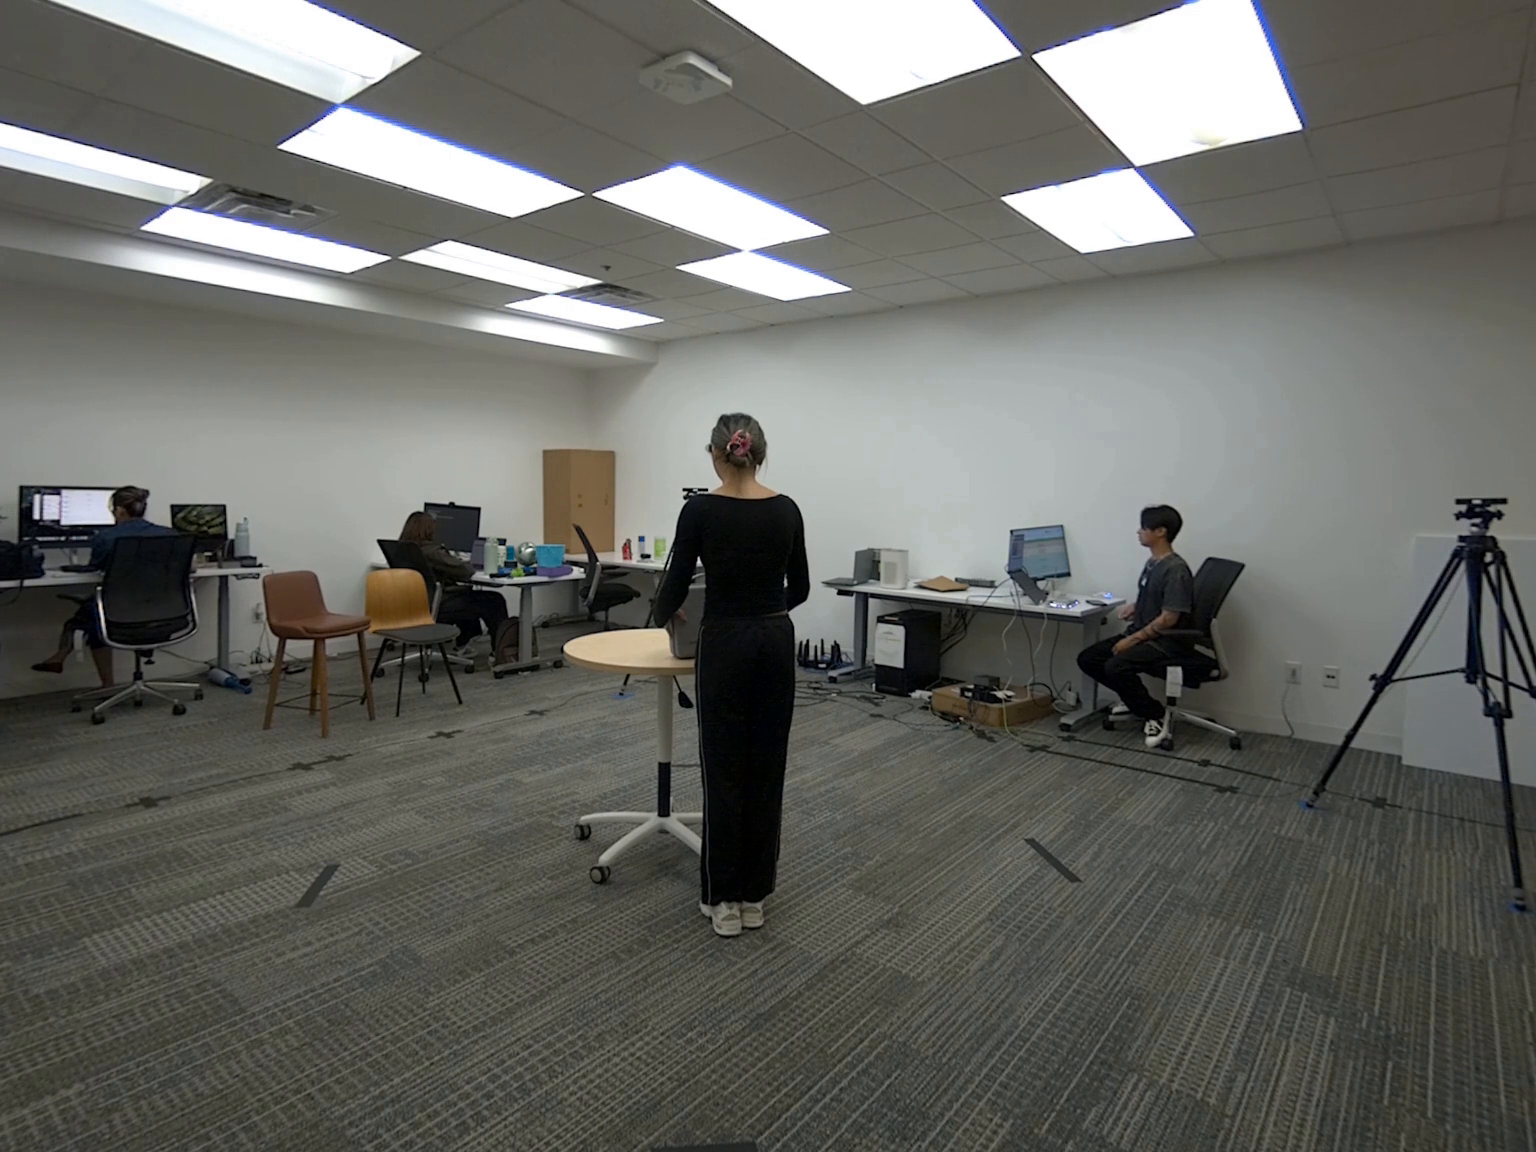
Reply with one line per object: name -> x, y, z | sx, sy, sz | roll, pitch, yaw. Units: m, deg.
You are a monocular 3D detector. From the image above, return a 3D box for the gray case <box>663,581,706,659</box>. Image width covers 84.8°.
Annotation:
gray case -> -0.242, 0.151, 3.045 | 0.252, 0.261, 0.106 | -3, -2, -21
